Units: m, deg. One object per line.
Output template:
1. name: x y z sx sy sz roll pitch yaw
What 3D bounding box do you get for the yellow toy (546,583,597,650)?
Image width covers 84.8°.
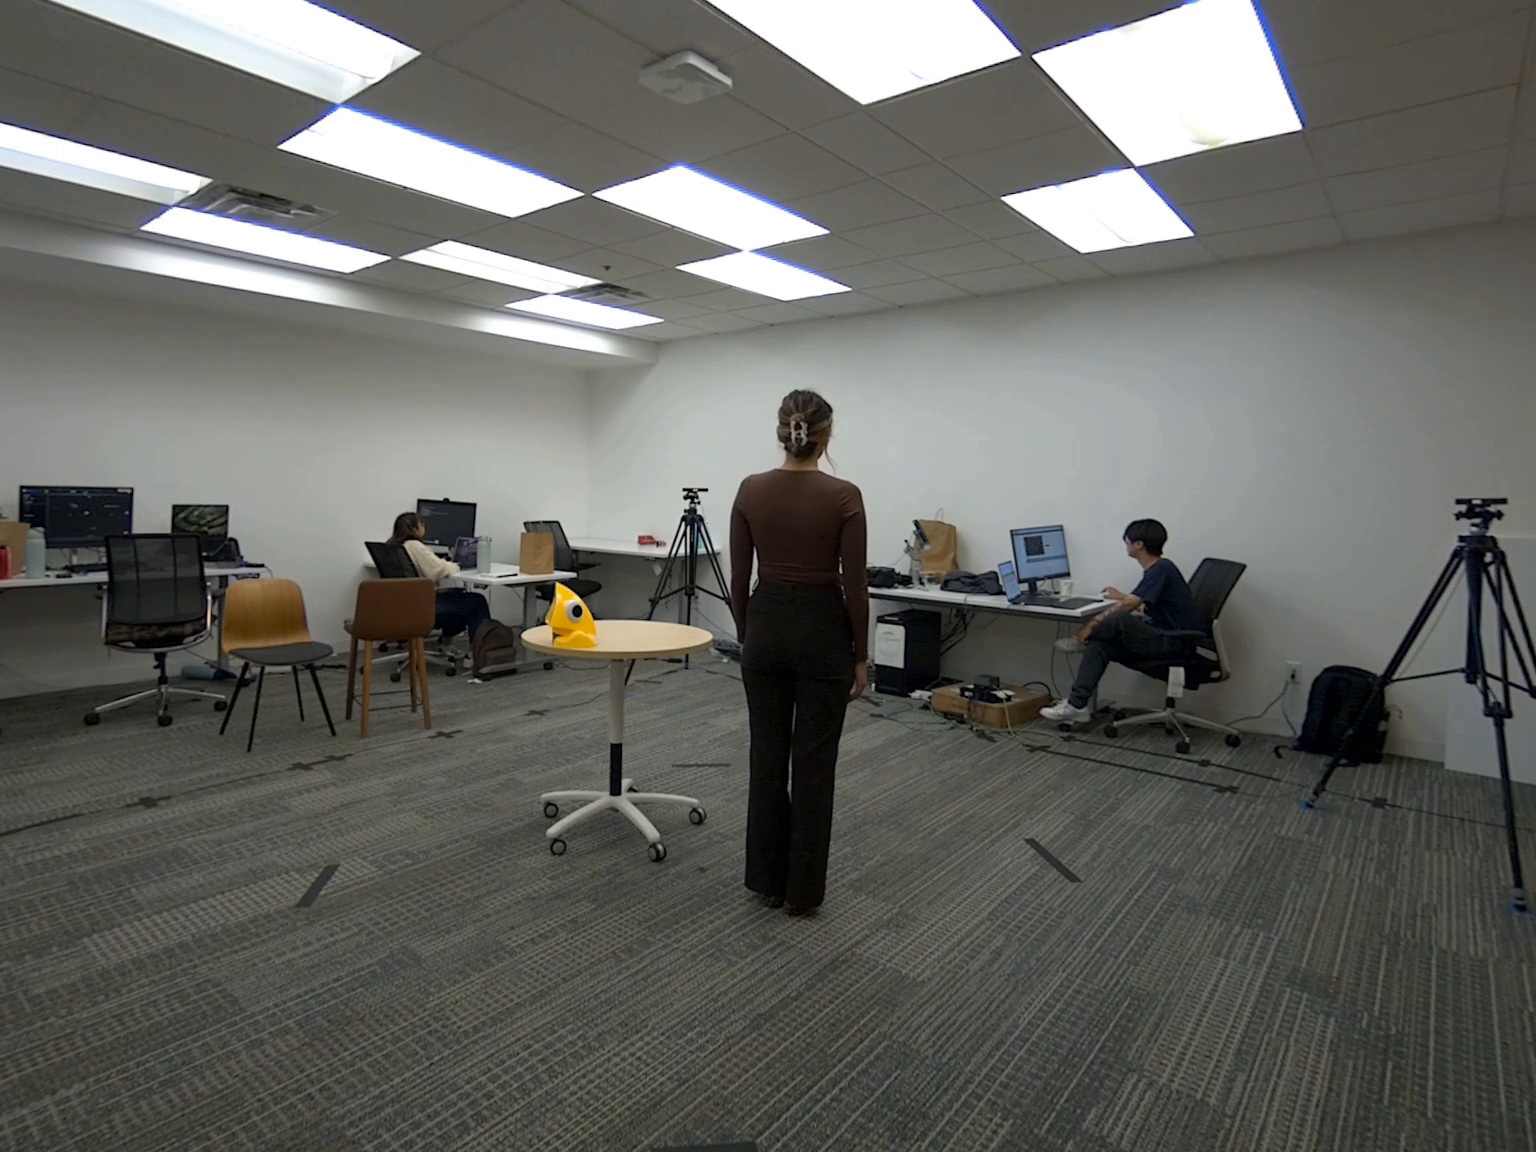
1. yellow toy: -0.754 0.137 3.215 0.189 0.230 0.209 0 4 -18
